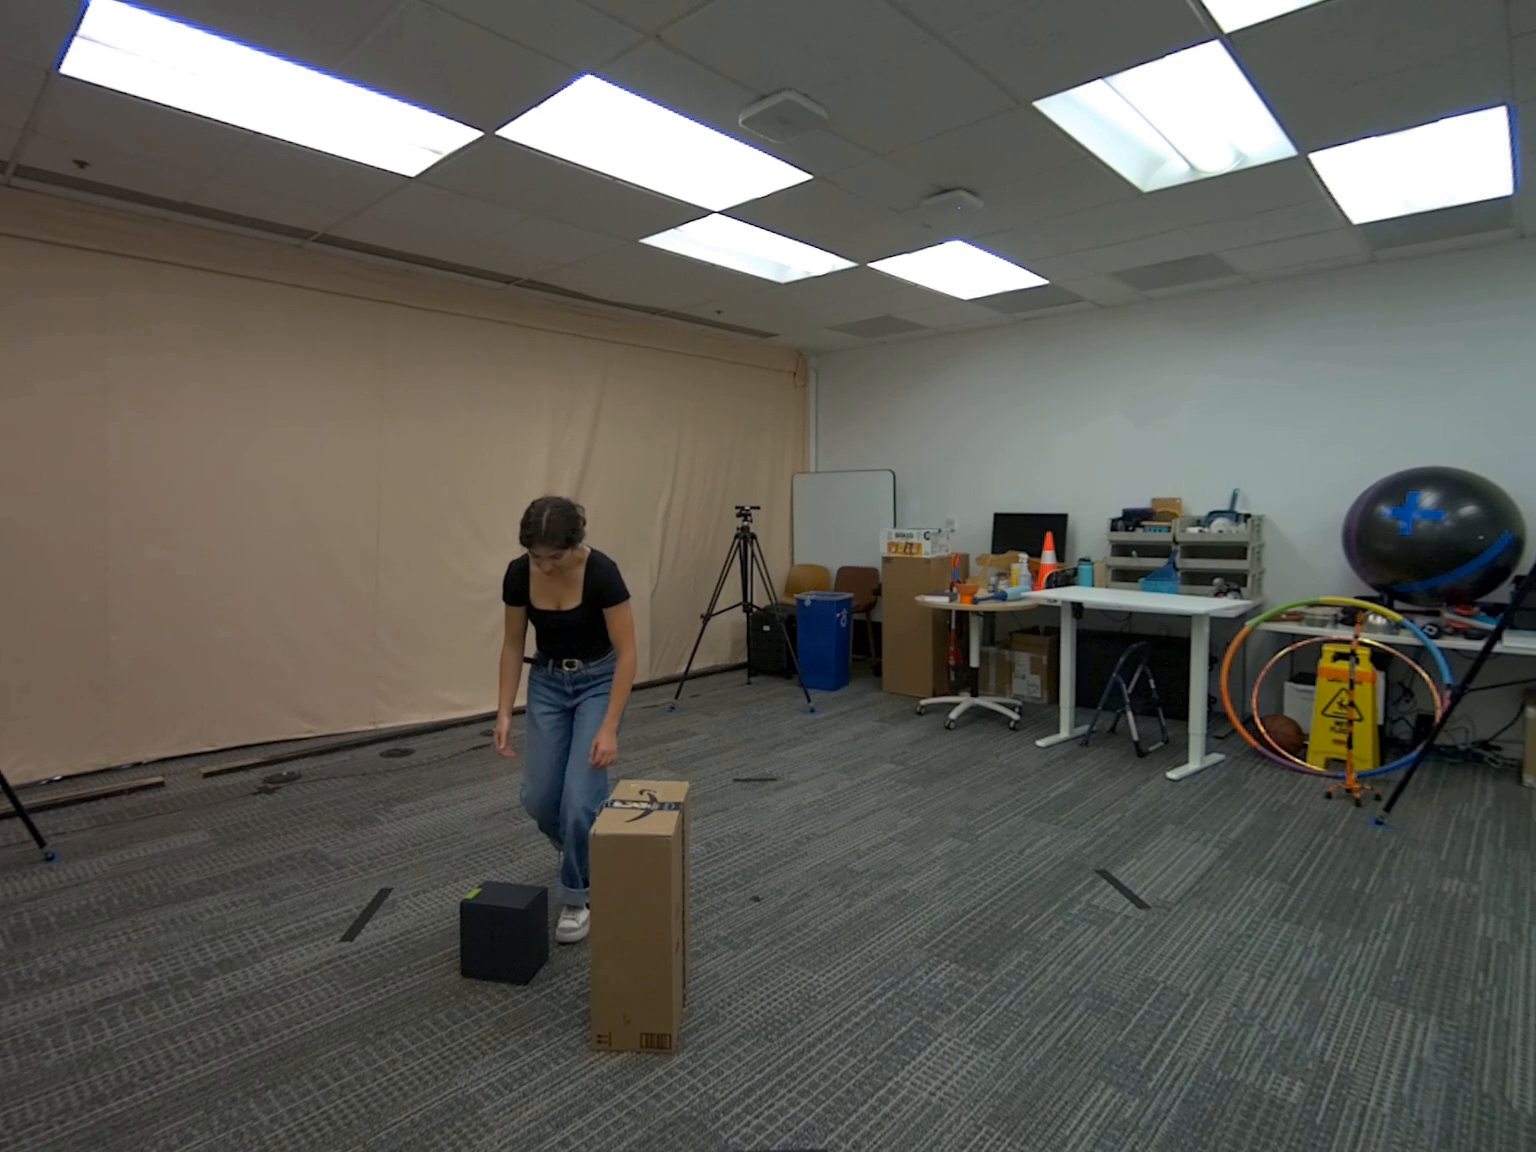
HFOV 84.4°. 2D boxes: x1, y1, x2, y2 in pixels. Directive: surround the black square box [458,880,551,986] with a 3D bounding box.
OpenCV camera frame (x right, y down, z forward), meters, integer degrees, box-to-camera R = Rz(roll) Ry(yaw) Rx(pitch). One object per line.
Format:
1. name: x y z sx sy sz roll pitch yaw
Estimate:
1. black square box: -0.793 1.059 2.546 0.220 0.227 0.154 0 3 13
